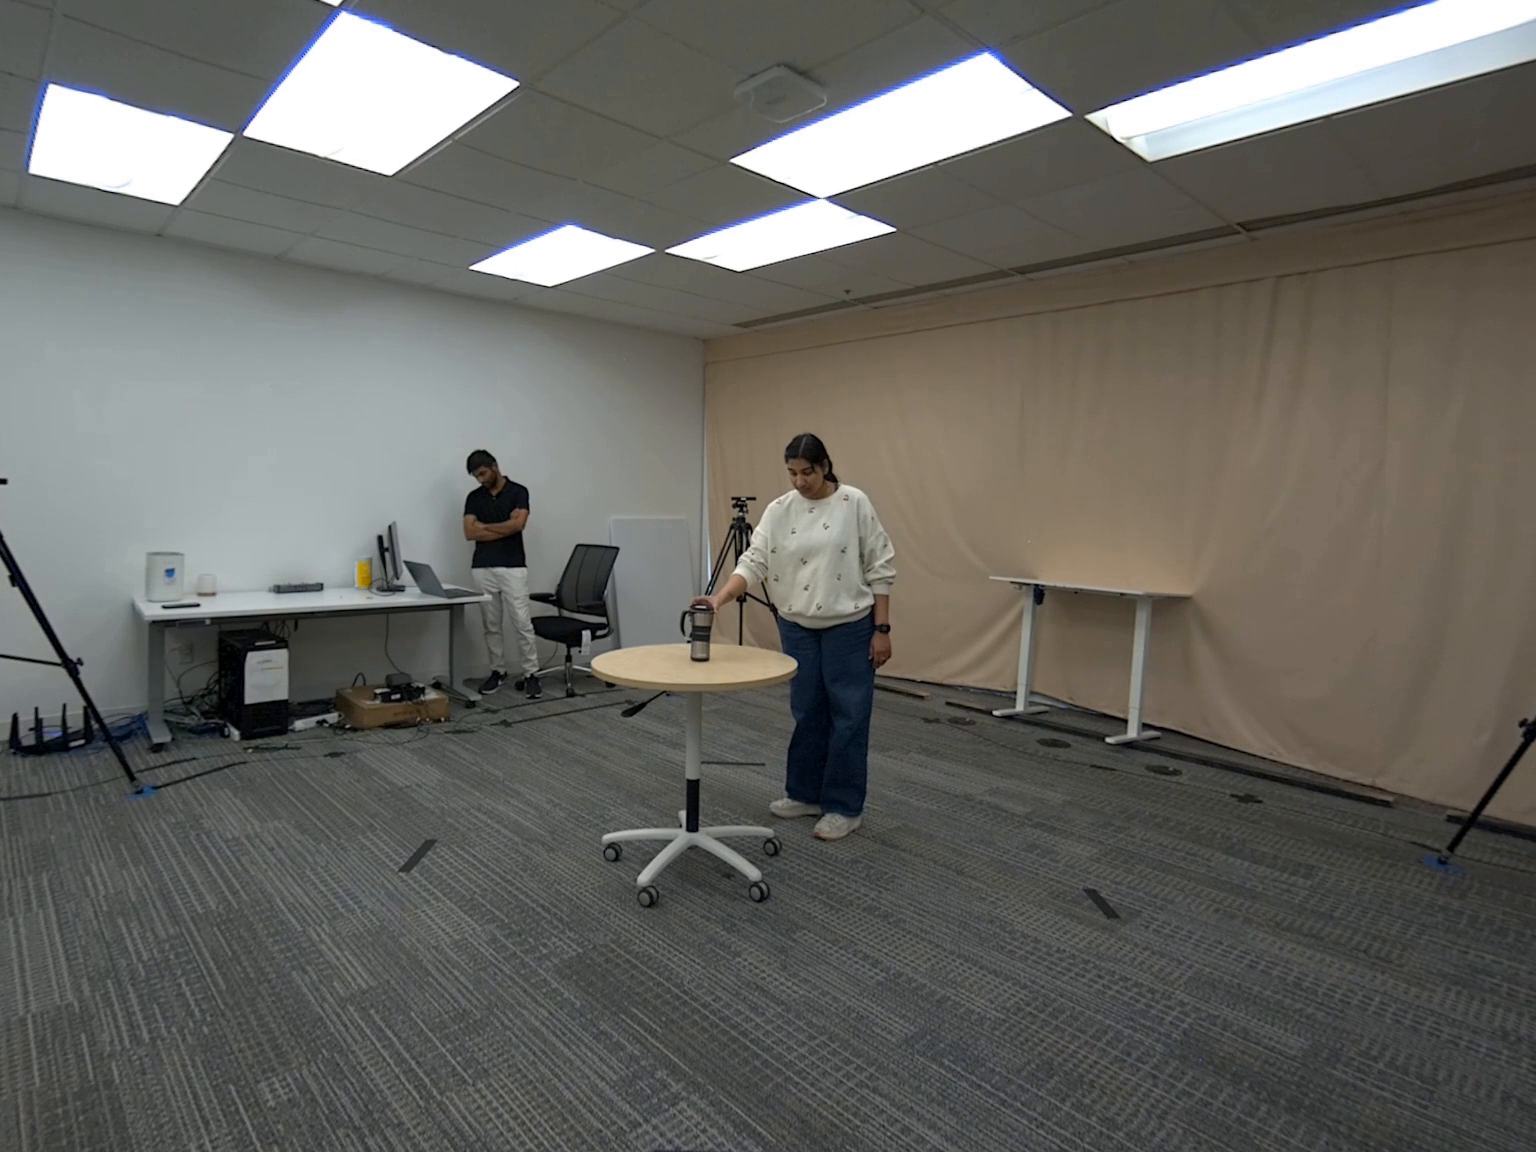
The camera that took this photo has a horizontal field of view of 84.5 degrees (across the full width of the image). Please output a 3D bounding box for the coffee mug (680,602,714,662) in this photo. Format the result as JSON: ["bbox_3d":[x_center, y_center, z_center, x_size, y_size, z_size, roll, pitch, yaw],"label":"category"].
[{"bbox_3d":[-0.278,0.216,3.165,0.125,0.202,0.086,9,7,40],"label":"coffee mug"}]
